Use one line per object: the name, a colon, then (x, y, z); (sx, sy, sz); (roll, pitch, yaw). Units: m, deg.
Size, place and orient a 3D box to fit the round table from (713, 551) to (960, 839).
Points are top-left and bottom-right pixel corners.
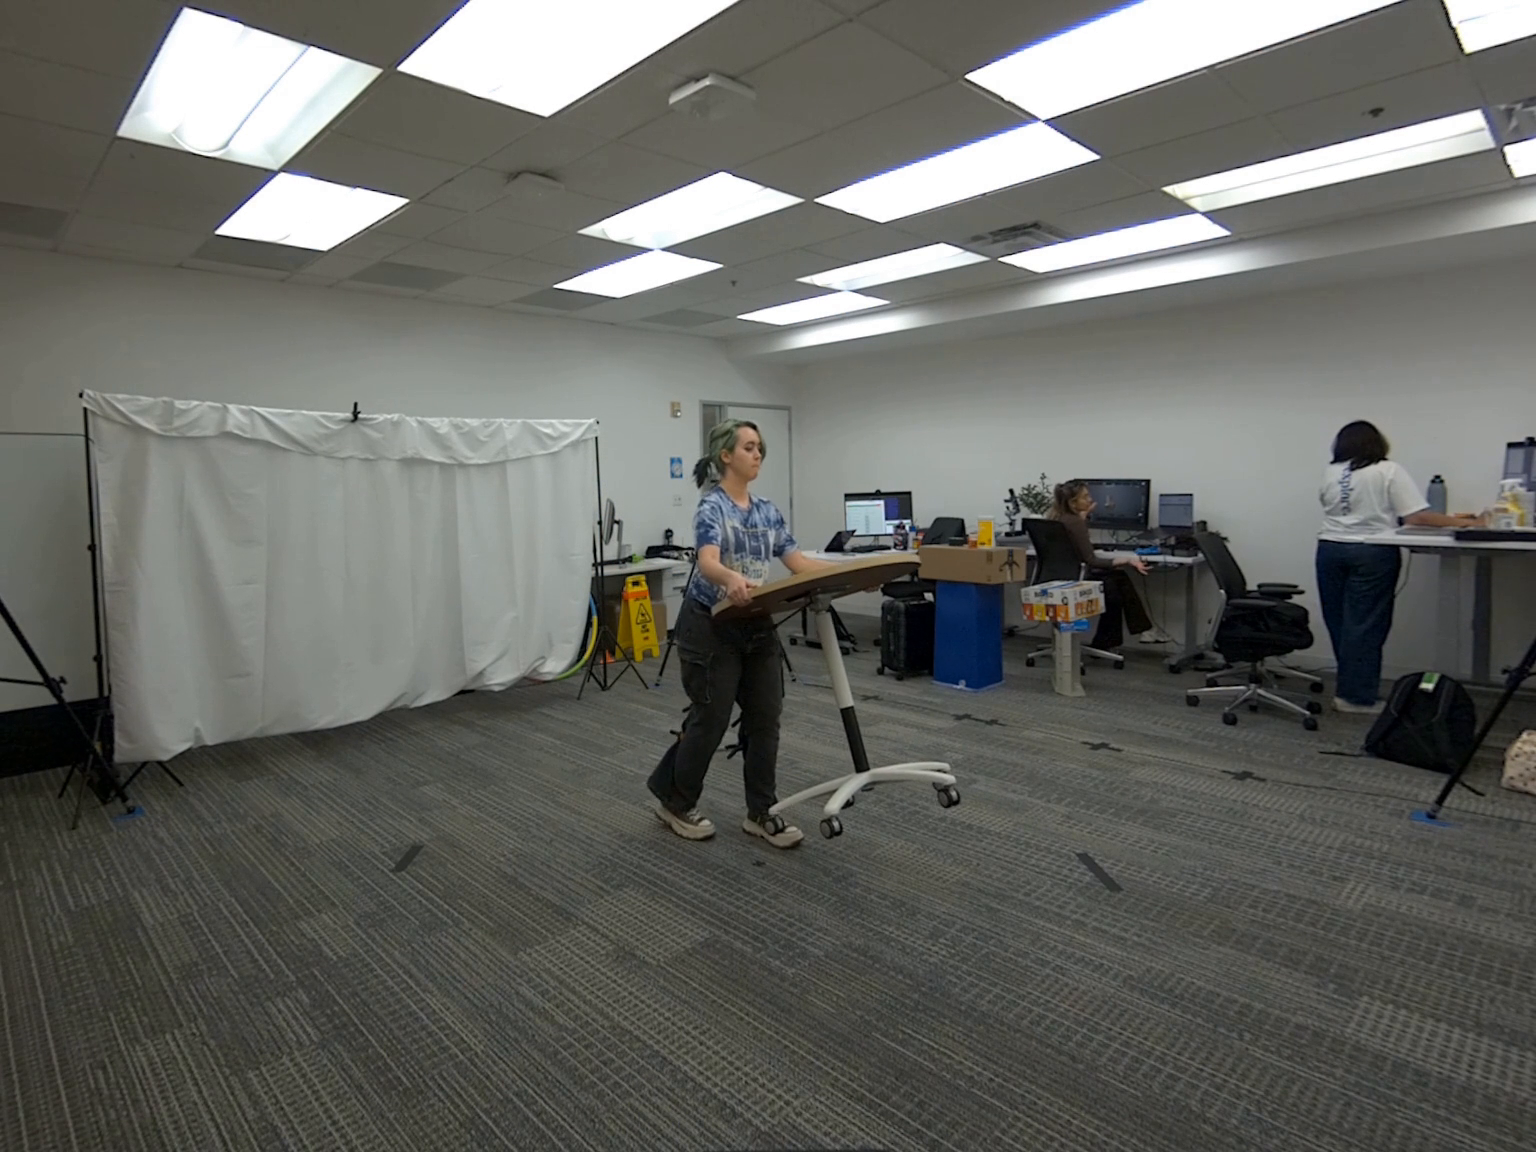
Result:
round table: (0.269, 0.426, 2.971); (0.762, 0.804, 0.757); (-13, -10, -4)
